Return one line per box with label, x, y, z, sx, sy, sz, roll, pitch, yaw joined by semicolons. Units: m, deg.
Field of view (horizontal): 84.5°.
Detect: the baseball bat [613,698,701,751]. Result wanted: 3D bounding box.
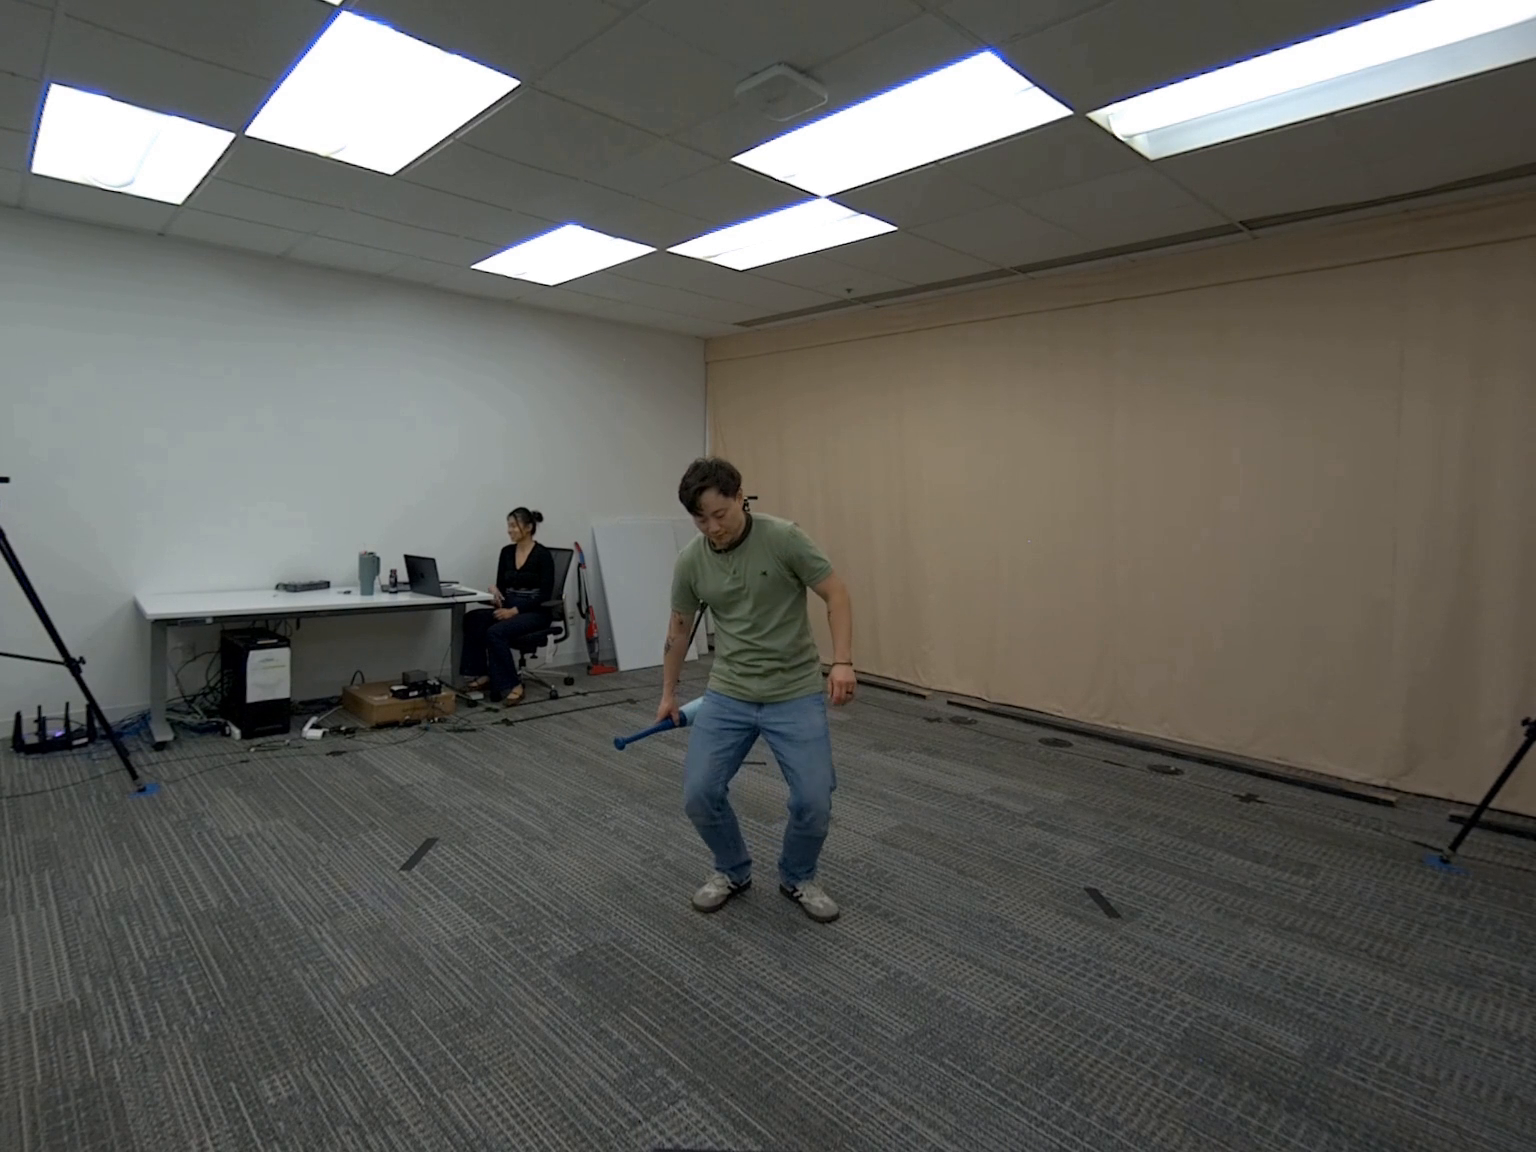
baseball bat;-0.329;0.533;3.058;0.091;0.088;0.534;5;16;42
